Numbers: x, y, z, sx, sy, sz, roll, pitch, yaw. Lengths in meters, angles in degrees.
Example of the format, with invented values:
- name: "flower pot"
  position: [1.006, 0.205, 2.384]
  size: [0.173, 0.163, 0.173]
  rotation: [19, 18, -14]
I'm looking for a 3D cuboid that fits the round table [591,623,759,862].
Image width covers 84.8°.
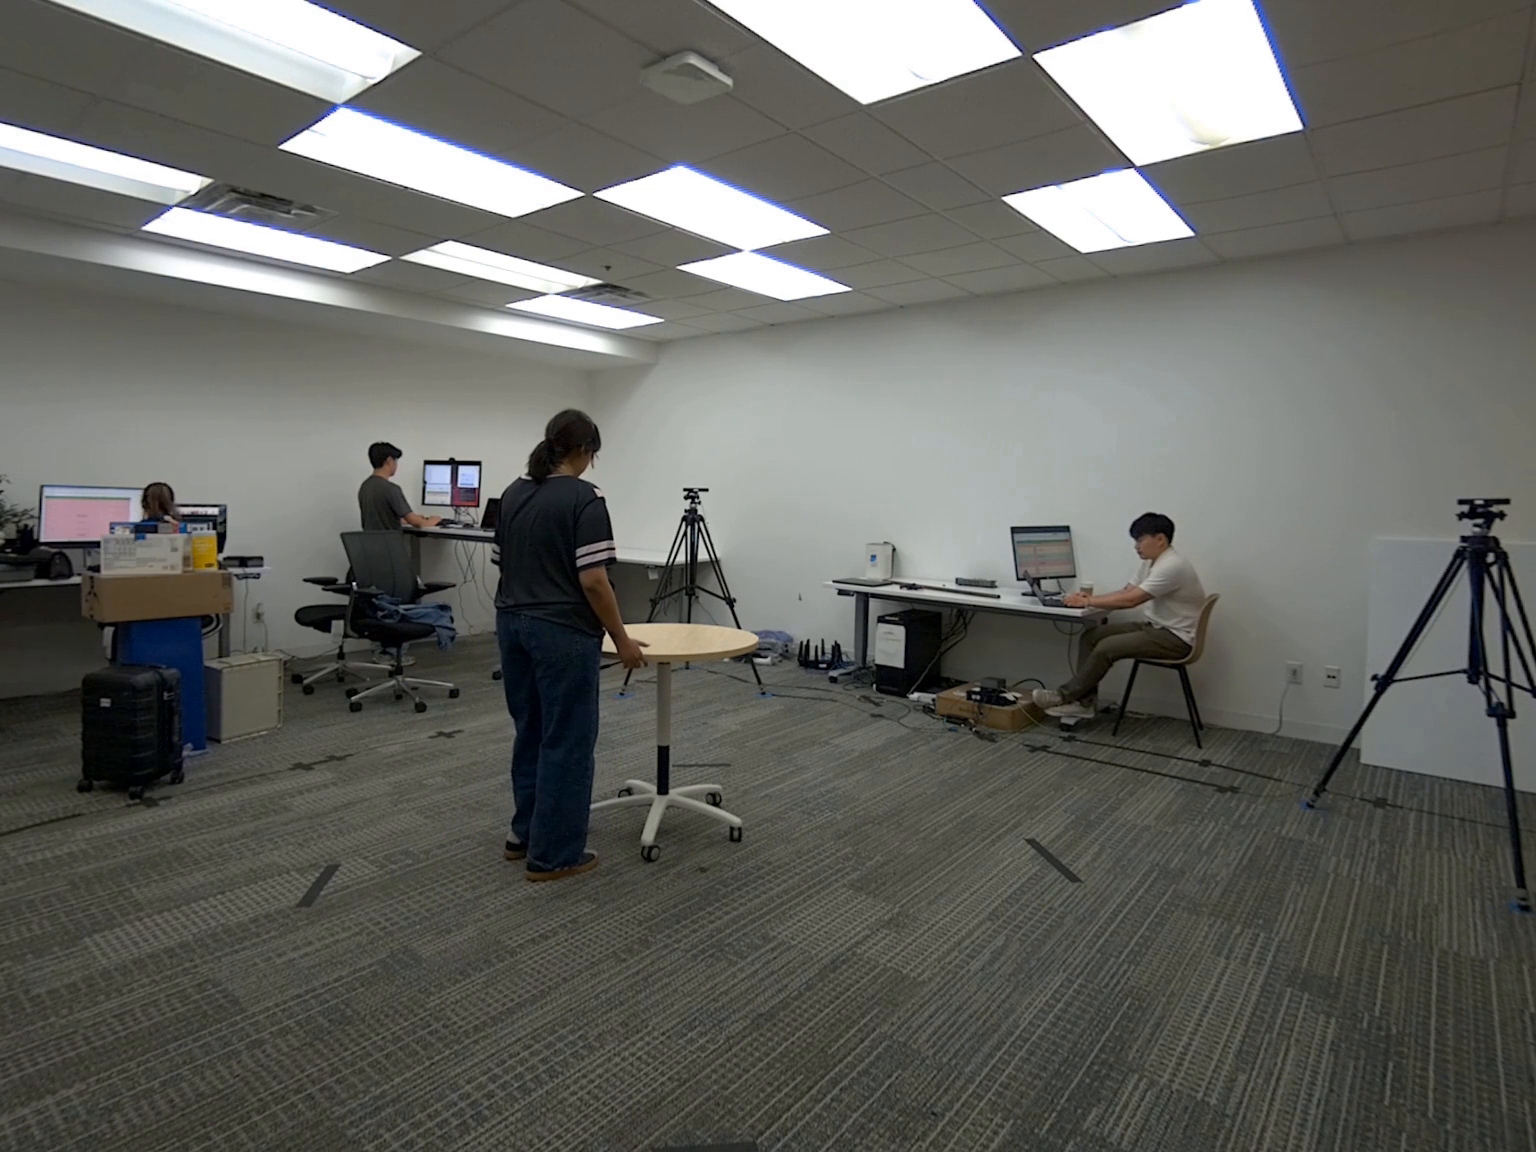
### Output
- name: "round table"
  position: [-0.431, 0.641, 3.479]
  size: [0.763, 0.792, 0.767]
  rotation: [1, 3, -2]
